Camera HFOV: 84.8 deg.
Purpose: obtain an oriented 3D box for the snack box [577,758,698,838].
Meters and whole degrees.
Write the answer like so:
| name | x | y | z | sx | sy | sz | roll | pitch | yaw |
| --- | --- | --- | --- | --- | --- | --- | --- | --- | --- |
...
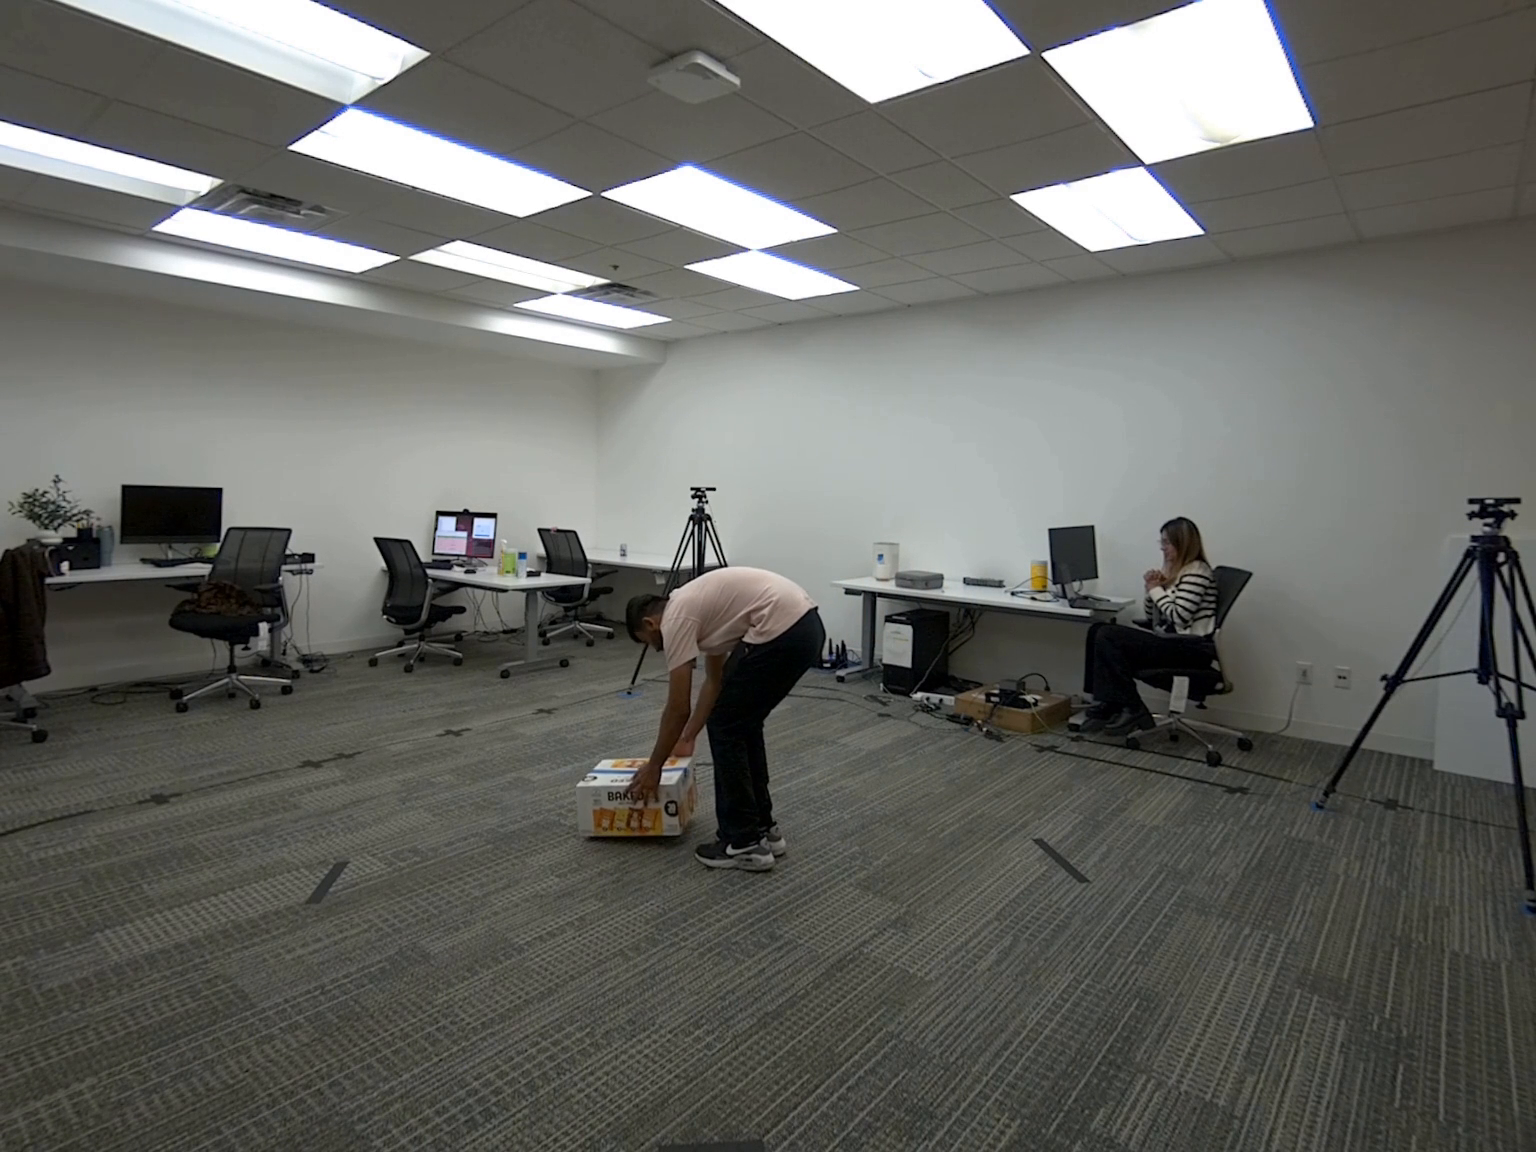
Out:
| name | x | y | z | sx | sy | sz | roll | pitch | yaw |
| --- | --- | --- | --- | --- | --- | --- | --- | --- | --- |
| snack box | -0.537 | 0.876 | 3.450 | 0.409 | 0.205 | 0.338 | -4 | 4 | 9 |
